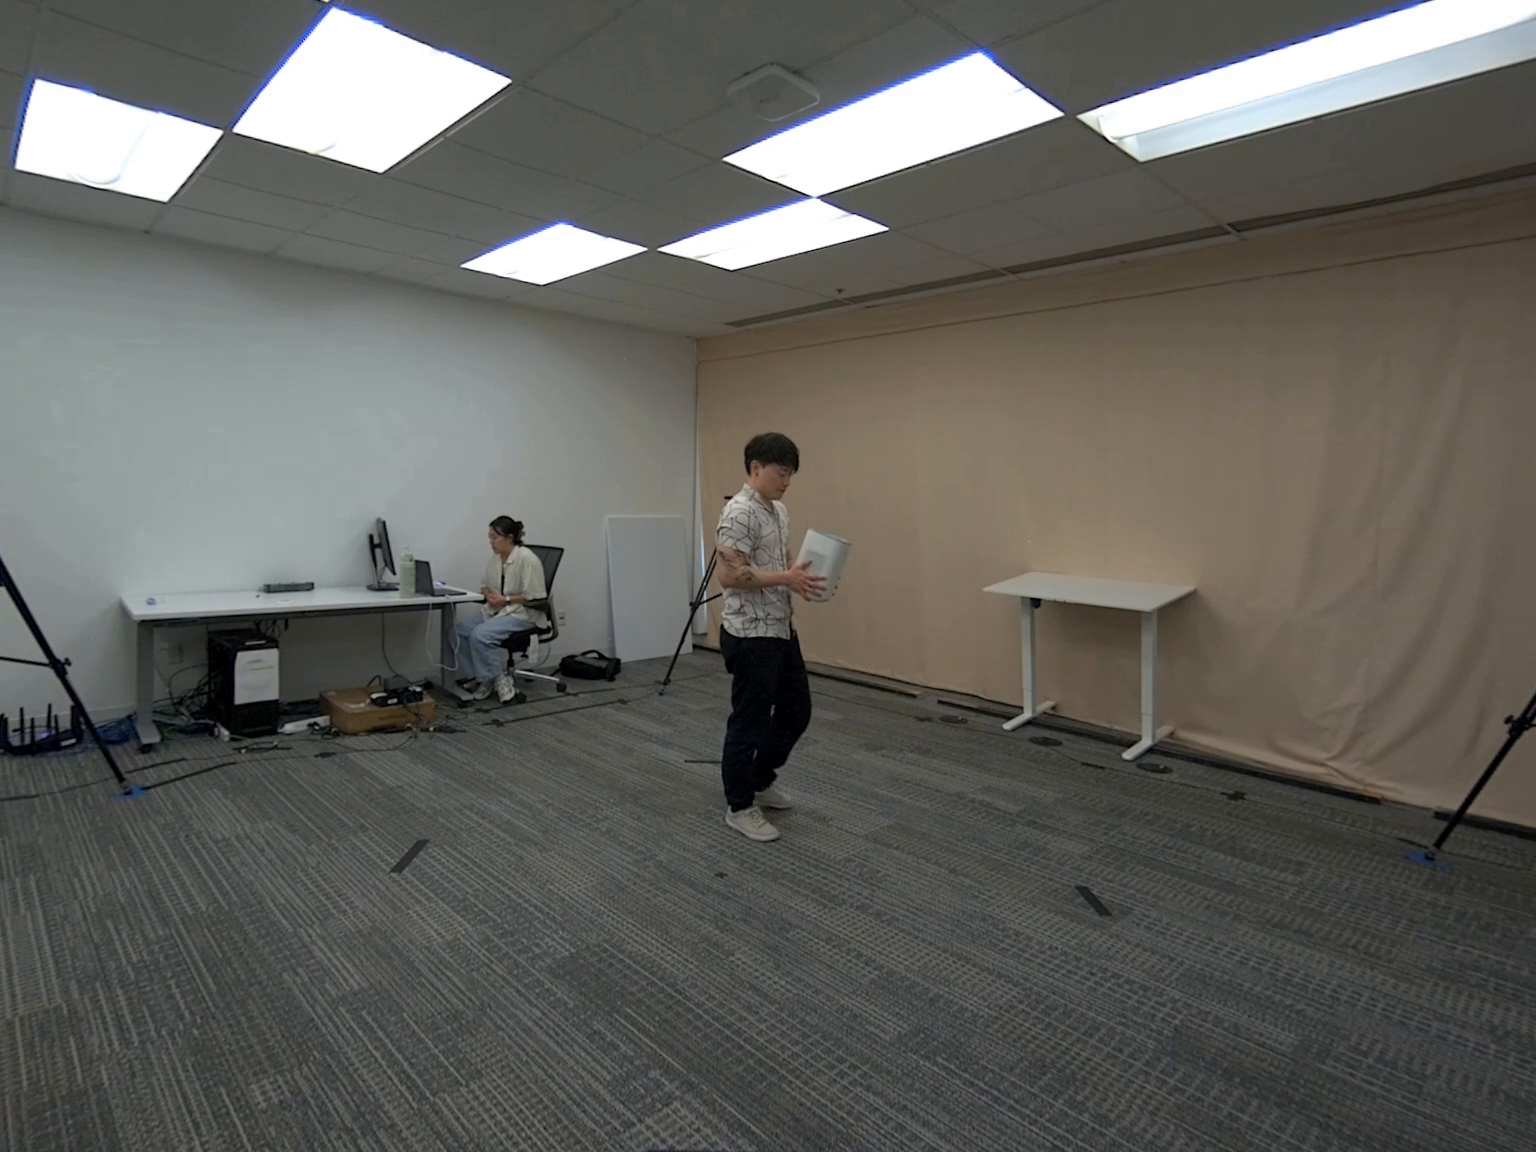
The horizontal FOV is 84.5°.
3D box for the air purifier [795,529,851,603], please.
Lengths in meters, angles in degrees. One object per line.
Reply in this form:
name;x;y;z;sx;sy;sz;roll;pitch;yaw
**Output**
air purifier;0.194;-0.044;3.411;0.175;0.264;0.168;23;7;22
